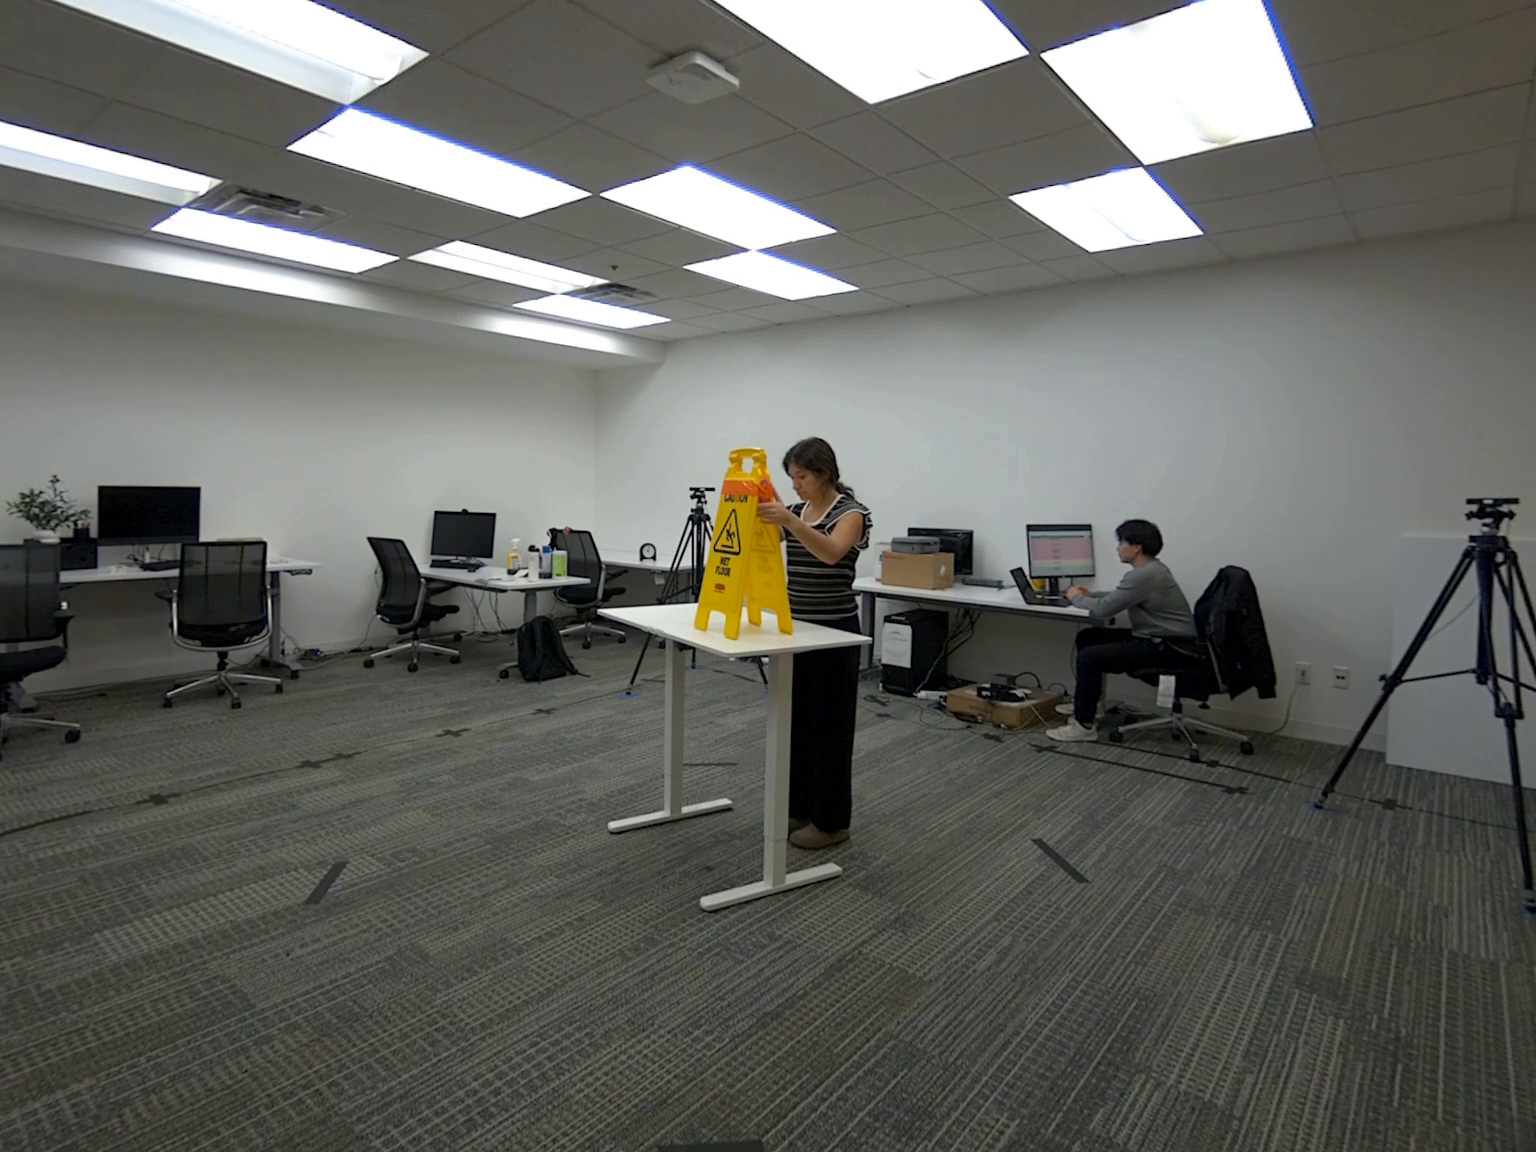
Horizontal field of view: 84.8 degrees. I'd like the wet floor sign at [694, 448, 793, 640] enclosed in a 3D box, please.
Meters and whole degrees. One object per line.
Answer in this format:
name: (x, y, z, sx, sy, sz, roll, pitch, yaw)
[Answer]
wet floor sign: (-0.092, -0.128, 3.018, 0.282, 0.644, 0.291, -2, 4, -33)
